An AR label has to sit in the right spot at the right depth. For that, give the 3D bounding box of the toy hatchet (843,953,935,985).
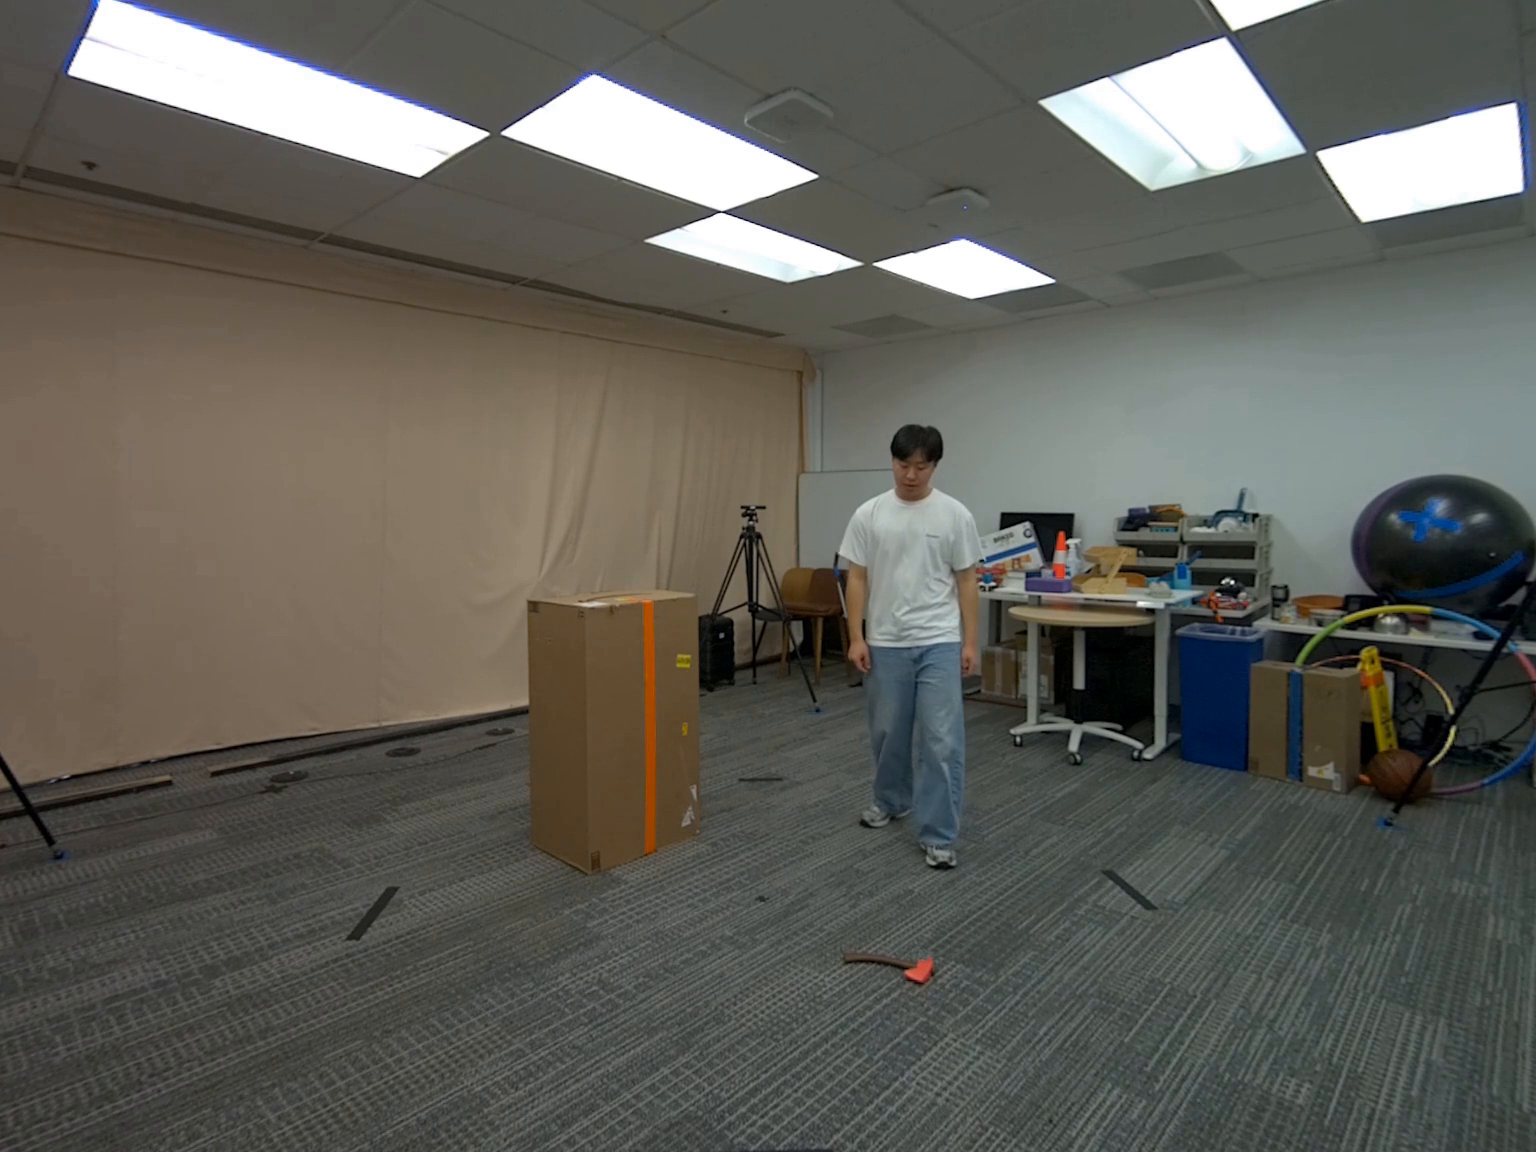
[{"bbox_3d":[0.368,1.172,2.508,0.272,0.029,0.130,-2,6,7],"label":"toy hatchet"}]
